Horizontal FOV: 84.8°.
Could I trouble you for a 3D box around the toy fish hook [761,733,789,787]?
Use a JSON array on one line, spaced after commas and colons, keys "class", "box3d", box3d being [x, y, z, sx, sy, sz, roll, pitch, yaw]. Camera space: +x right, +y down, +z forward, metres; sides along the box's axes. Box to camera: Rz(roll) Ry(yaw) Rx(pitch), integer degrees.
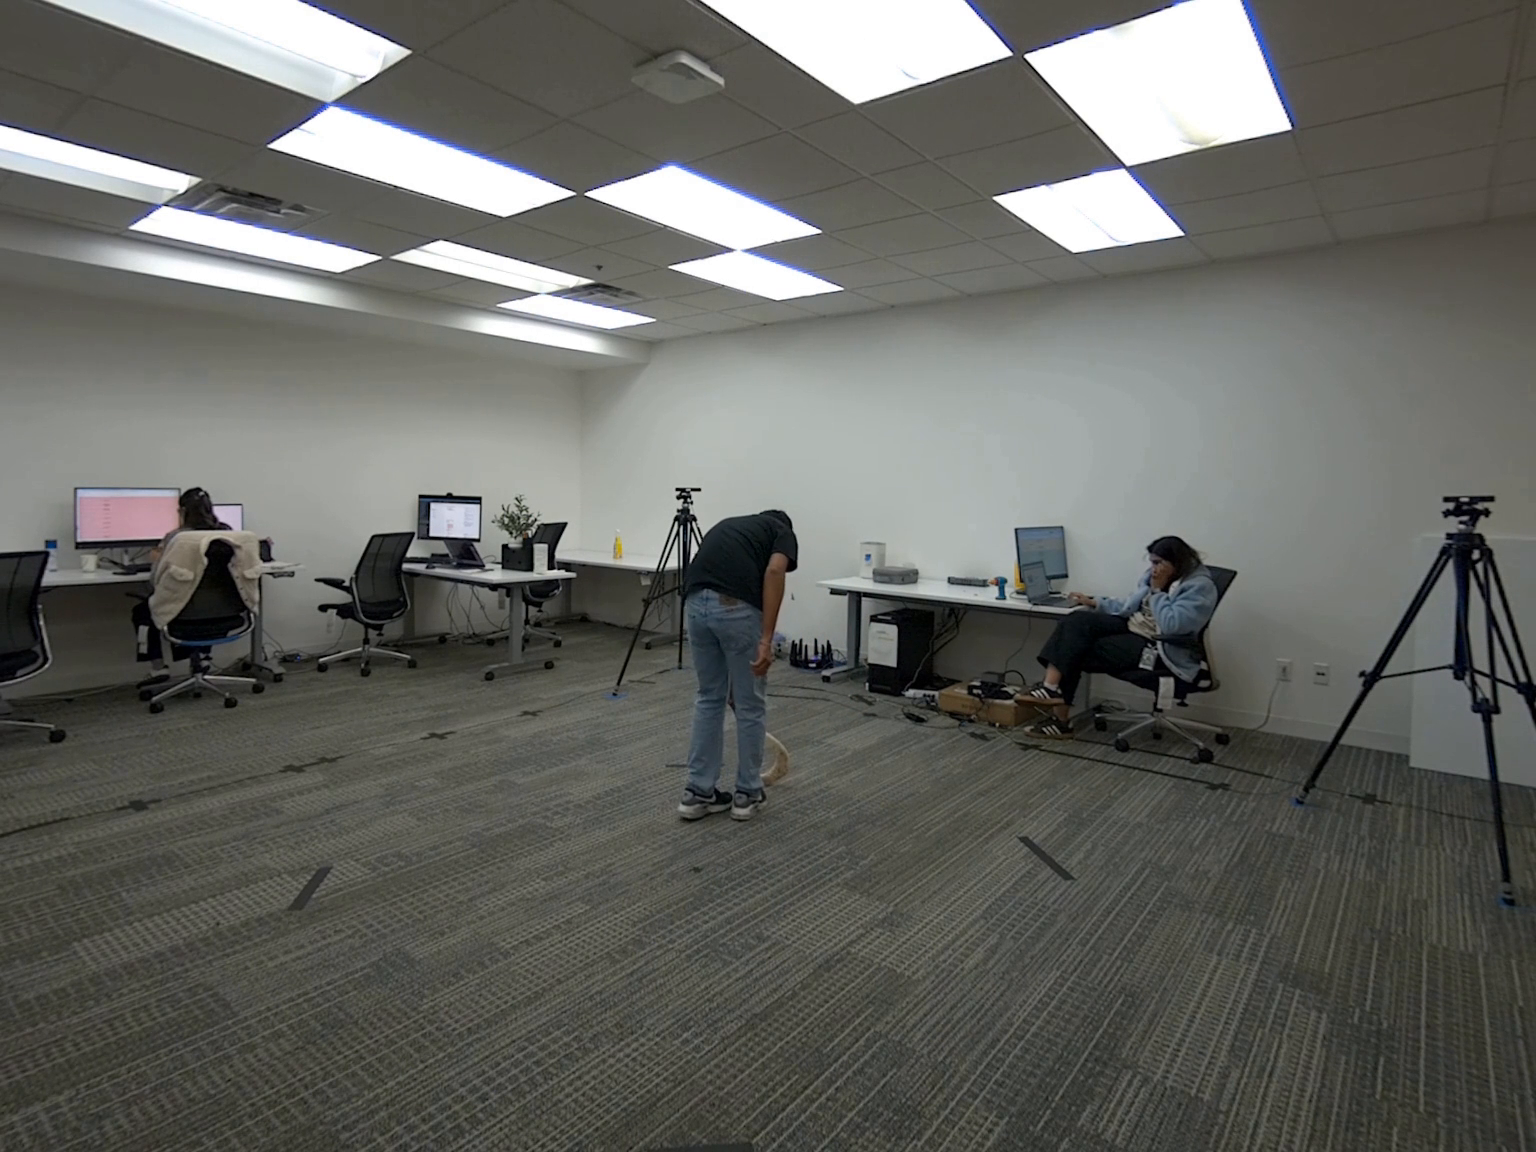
[{"class": "toy fish hook", "box3d": [-0.107, 0.754, 3.986, 0.224, 0.503, 0.049, -37, 5, -4]}]
